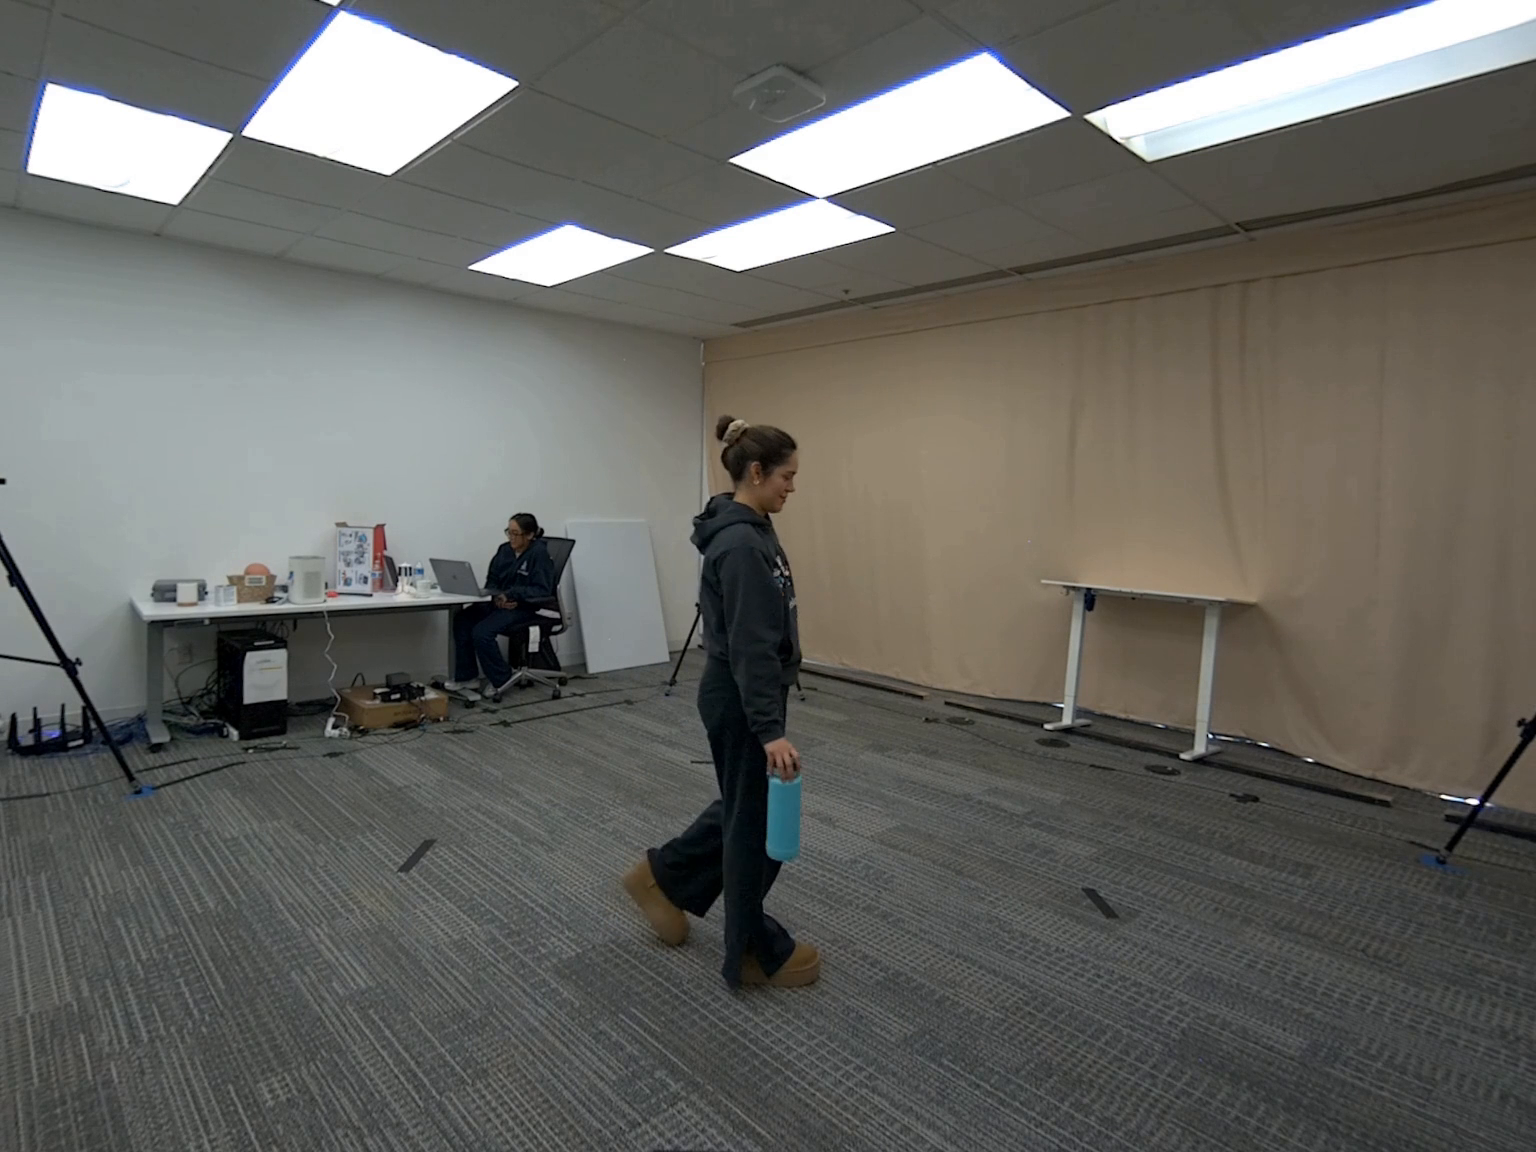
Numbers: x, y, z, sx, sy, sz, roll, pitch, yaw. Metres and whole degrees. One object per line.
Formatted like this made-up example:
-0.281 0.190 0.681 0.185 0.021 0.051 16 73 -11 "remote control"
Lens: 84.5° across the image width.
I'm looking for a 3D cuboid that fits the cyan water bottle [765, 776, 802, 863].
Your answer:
0.037 0.619 2.273 0.092 0.281 0.093 0 9 -1 "cyan water bottle"
